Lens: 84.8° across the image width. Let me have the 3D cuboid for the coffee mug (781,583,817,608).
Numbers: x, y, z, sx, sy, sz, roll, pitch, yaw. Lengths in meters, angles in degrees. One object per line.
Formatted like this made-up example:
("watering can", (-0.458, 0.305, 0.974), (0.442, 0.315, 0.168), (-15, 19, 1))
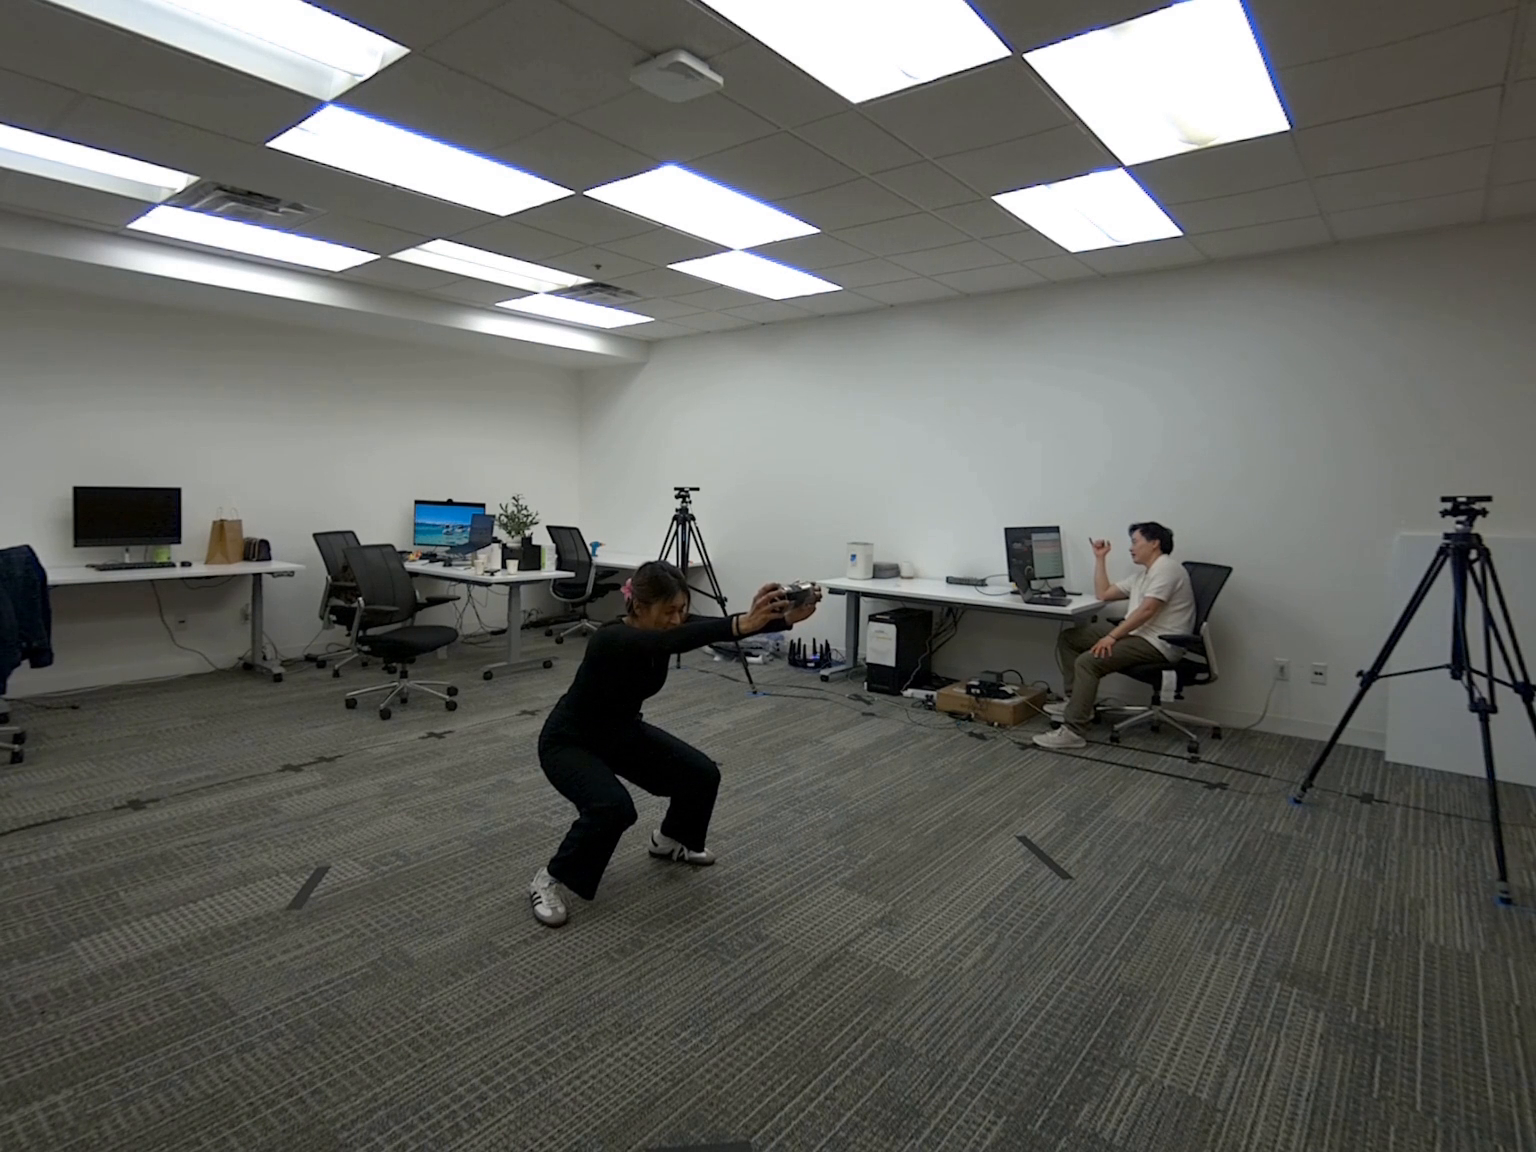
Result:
("coffee mug", (0.051, 0.070, 2.441), (0.197, 0.087, 0.126), (-8, 14, -42))
